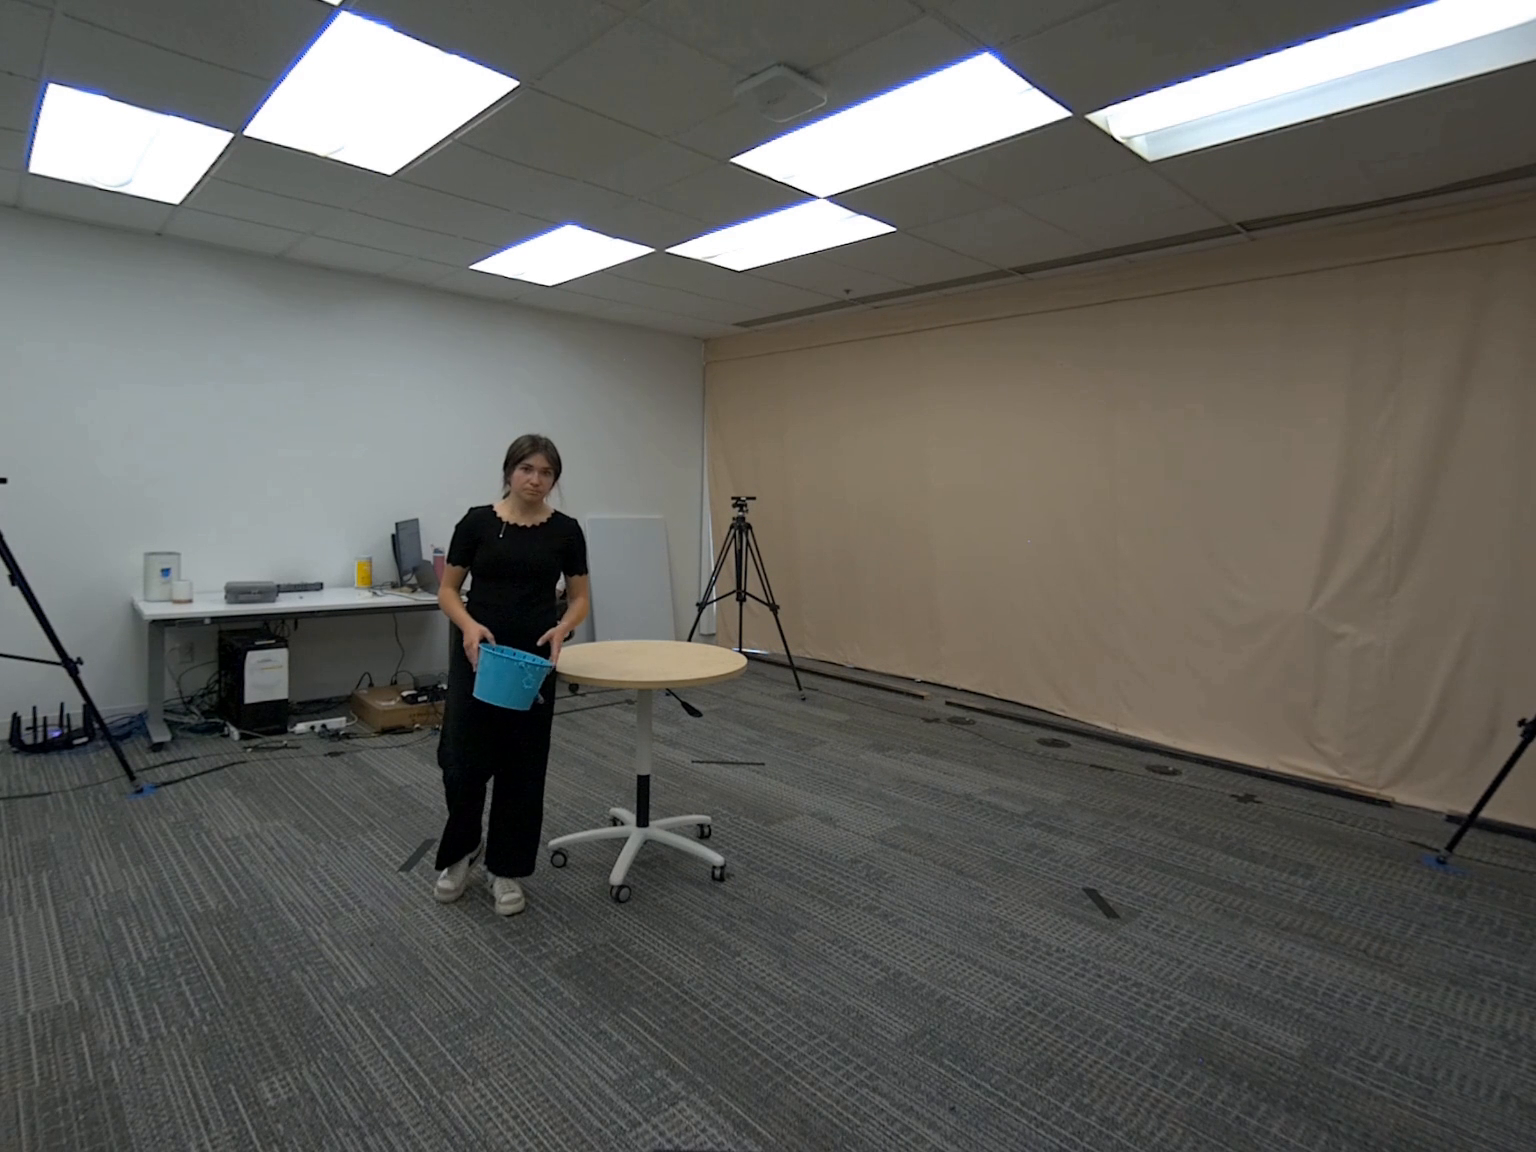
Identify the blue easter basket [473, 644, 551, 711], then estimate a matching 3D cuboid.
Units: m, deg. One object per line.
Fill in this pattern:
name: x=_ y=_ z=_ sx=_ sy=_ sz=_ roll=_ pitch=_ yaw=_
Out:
blue easter basket: x=-0.817 y=0.322 z=2.620 sx=0.243 sy=0.156 sz=0.243 roll=14 pitch=-2 yaw=-1
